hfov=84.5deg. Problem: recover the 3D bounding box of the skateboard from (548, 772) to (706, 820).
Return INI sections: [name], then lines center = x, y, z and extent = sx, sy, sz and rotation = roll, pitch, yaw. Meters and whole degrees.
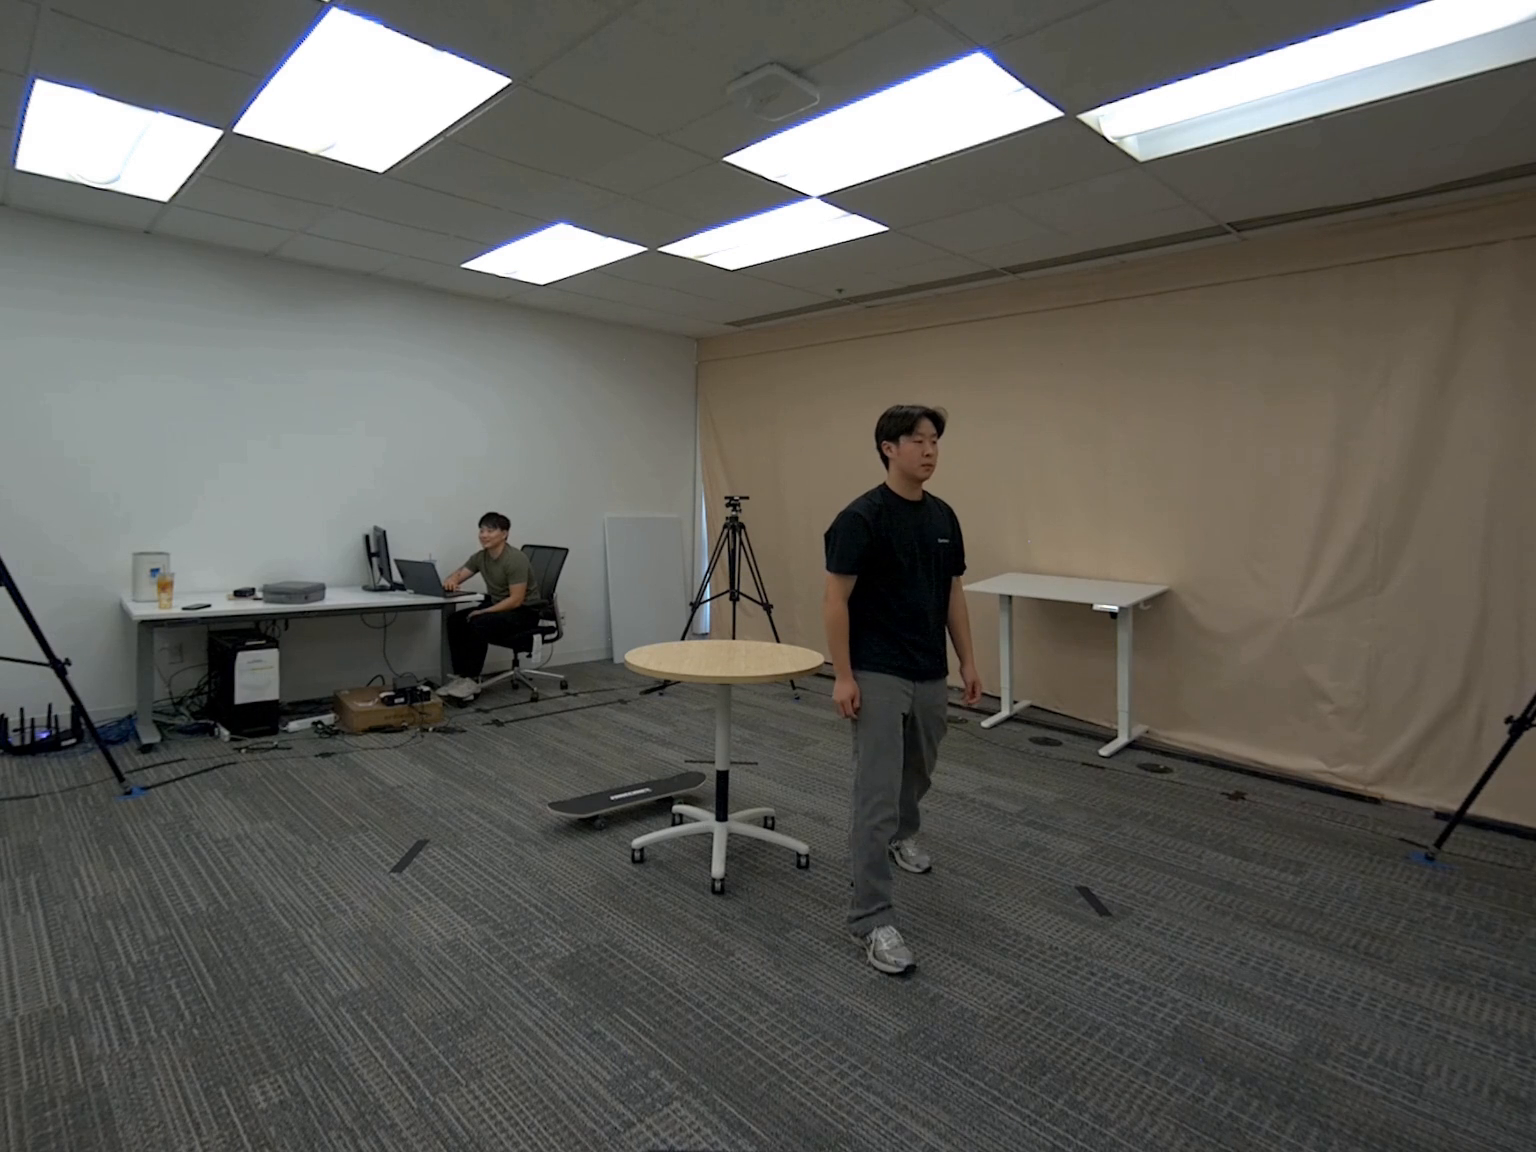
[skateboard]
center = -0.612, 0.988, 3.687
extent = 0.768, 0.110, 0.198
rotation = -3, 7, -40
